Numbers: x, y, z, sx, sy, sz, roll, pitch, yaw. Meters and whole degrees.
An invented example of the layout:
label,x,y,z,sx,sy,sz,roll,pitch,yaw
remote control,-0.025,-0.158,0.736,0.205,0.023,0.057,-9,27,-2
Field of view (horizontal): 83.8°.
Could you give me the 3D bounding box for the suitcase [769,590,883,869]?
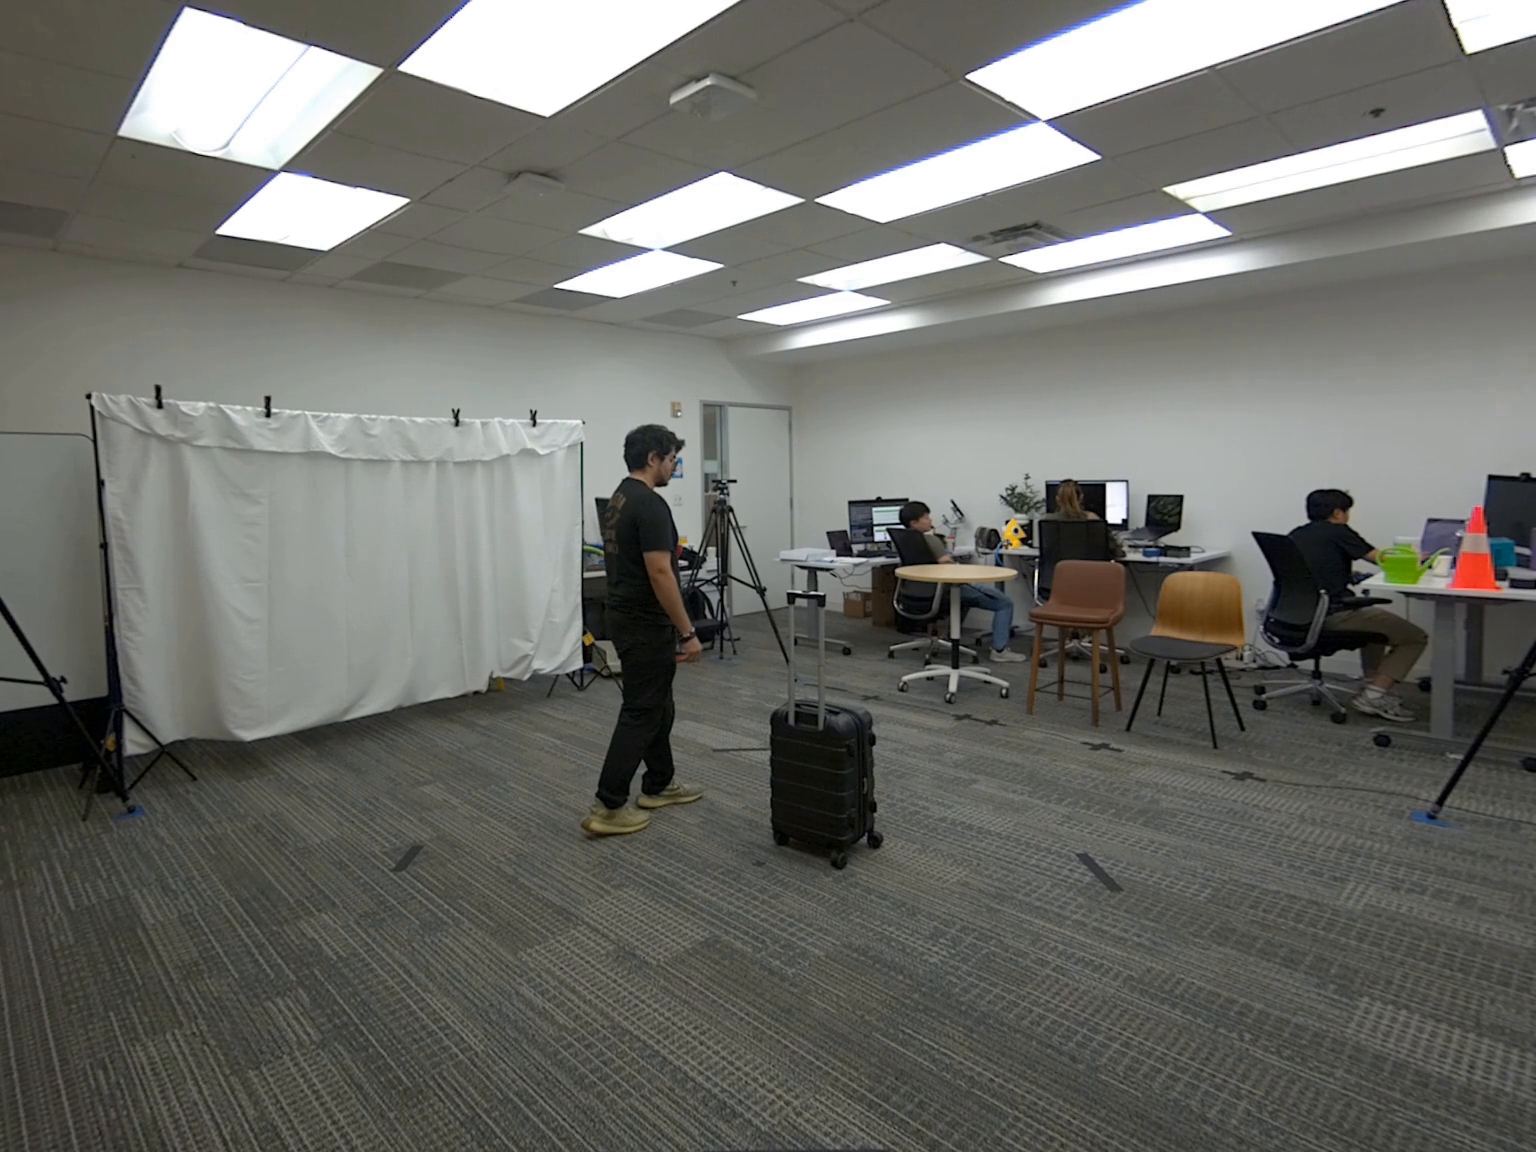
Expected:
label,x,y,z,sx,sy,sz,roll,pitch,yaw
suitcase,0.208,0.552,3.234,0.395,0.977,0.250,1,2,37
